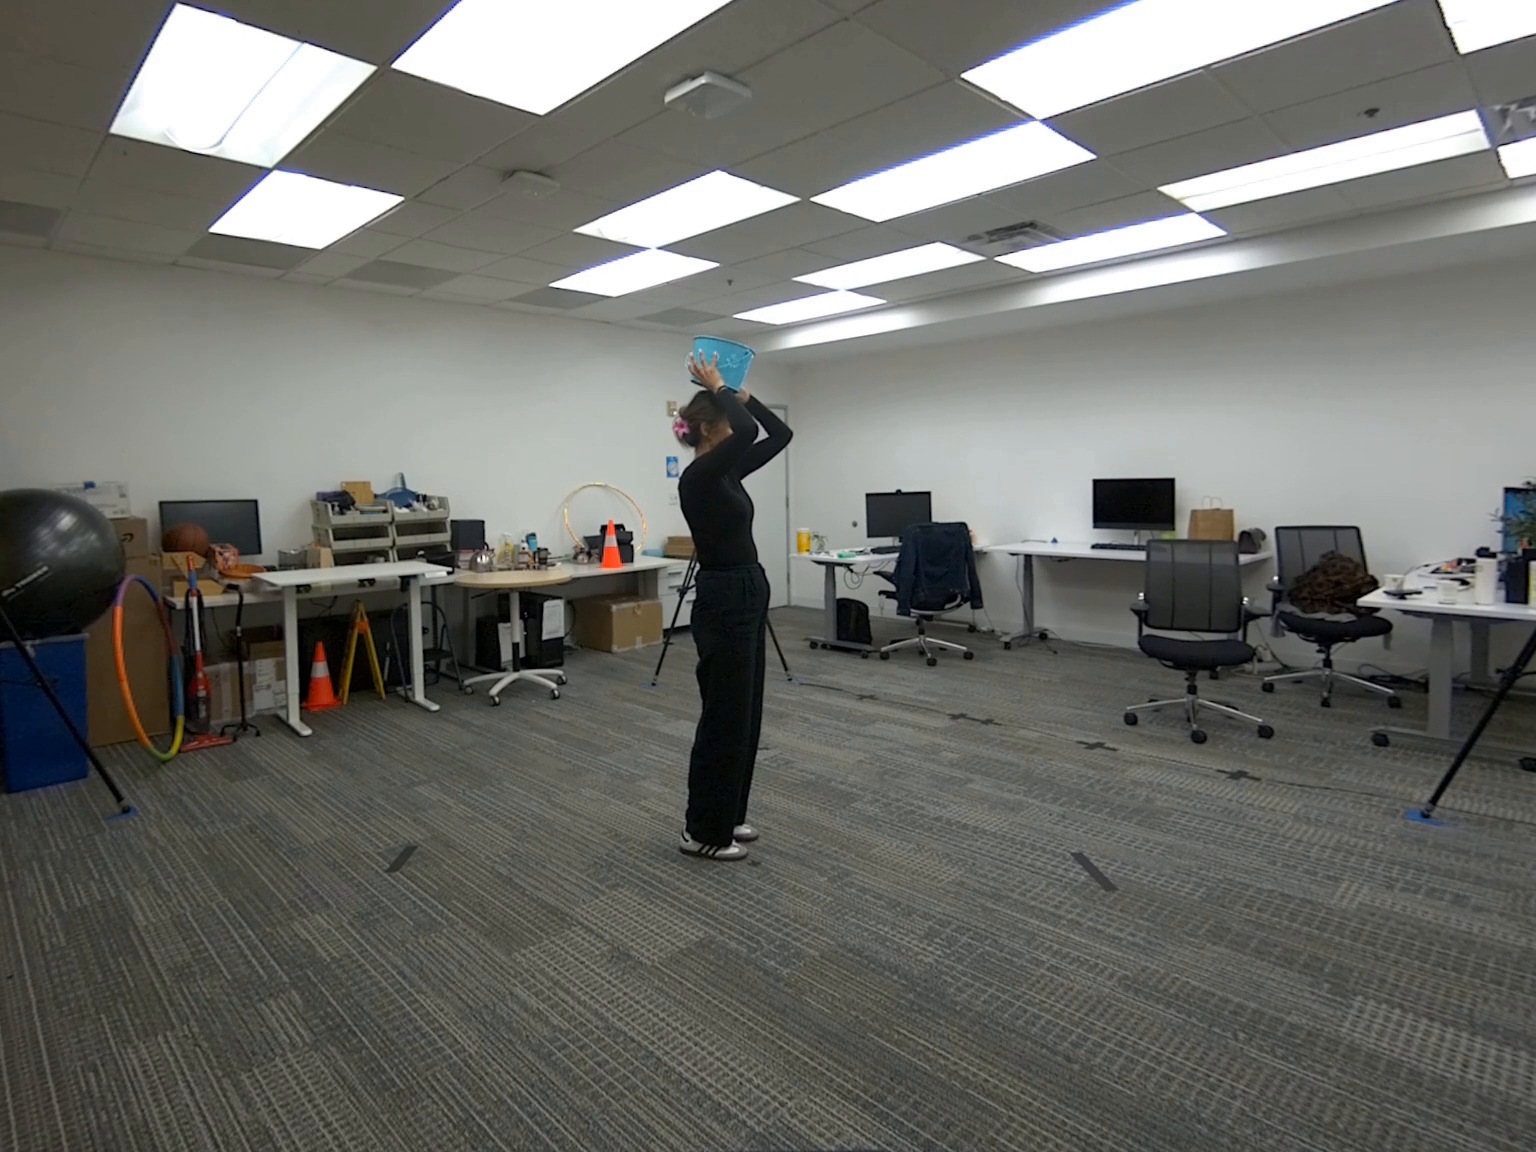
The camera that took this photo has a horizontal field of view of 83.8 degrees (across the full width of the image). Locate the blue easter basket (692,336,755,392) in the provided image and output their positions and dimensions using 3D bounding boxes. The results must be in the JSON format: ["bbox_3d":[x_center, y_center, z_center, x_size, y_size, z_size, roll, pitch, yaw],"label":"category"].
[{"bbox_3d":[-0.181,-0.760,3.092,0.243,0.156,0.244,13,3,-2],"label":"blue easter basket"}]
